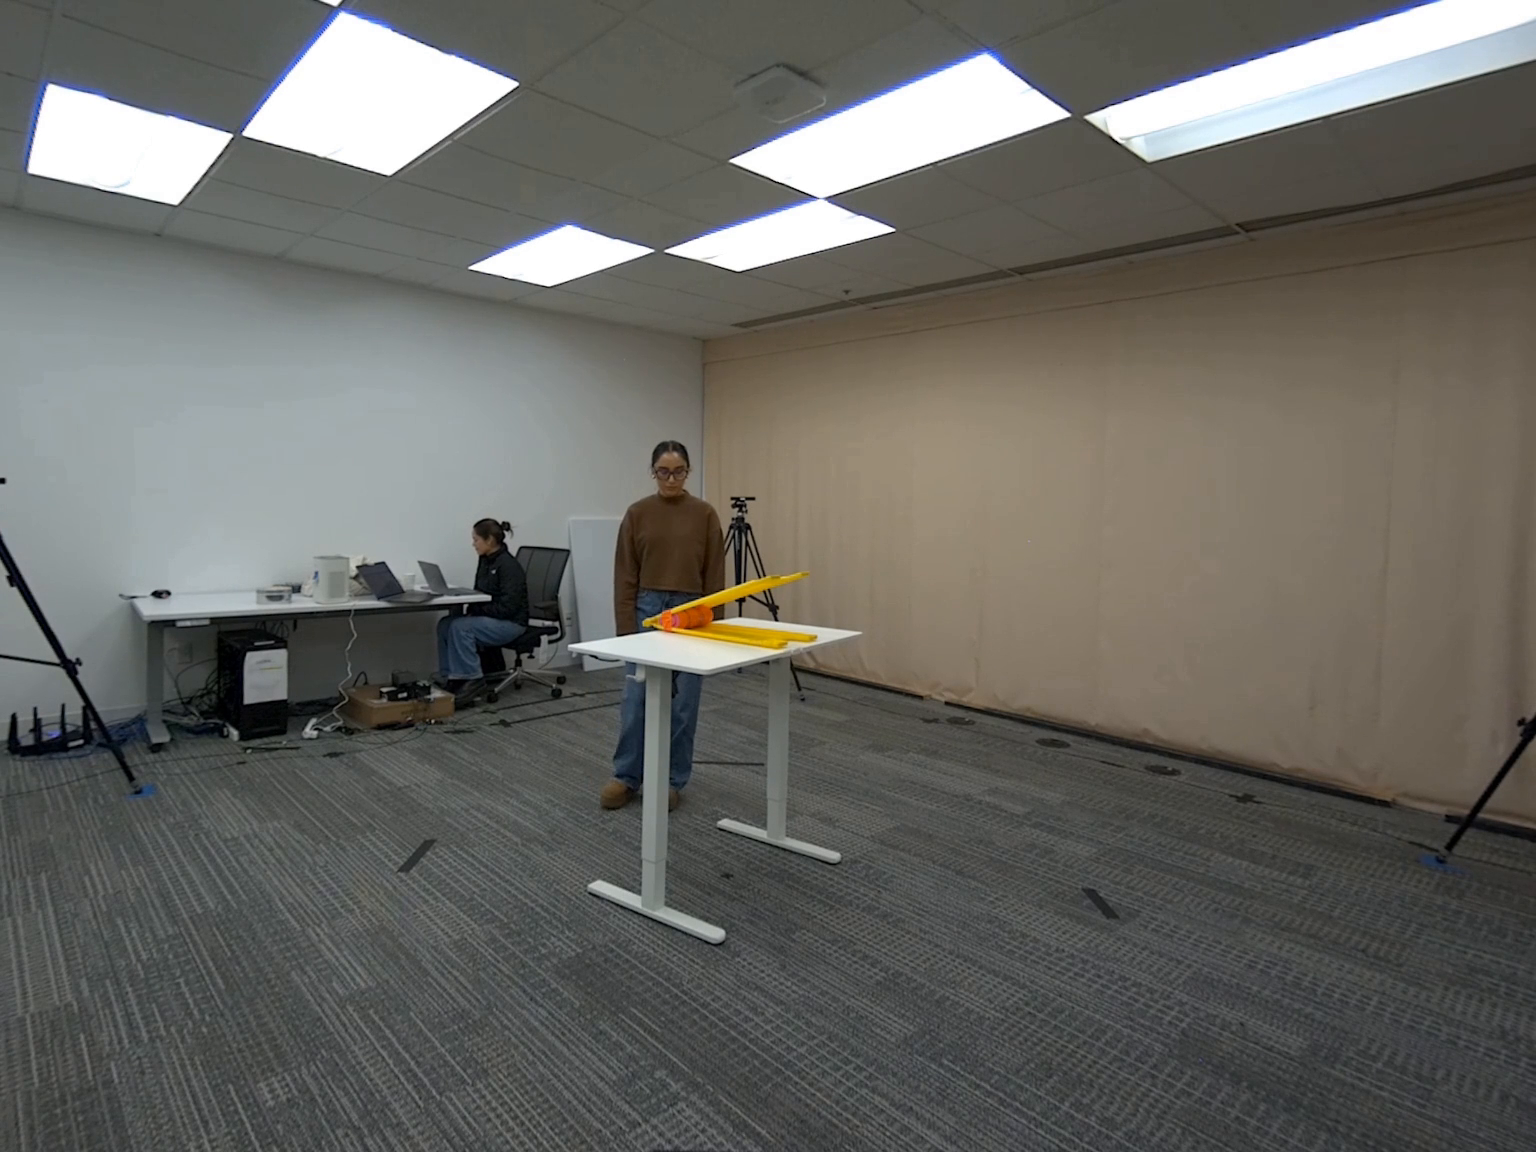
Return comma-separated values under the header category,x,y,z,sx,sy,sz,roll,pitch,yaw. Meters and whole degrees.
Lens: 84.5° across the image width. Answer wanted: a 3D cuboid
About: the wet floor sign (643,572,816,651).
category,x,y,z,sx,sy,sz,roll,pitch,yaw
wet floor sign,-0.184,0.155,3.147,0.658,0.290,0.276,-6,-1,33
